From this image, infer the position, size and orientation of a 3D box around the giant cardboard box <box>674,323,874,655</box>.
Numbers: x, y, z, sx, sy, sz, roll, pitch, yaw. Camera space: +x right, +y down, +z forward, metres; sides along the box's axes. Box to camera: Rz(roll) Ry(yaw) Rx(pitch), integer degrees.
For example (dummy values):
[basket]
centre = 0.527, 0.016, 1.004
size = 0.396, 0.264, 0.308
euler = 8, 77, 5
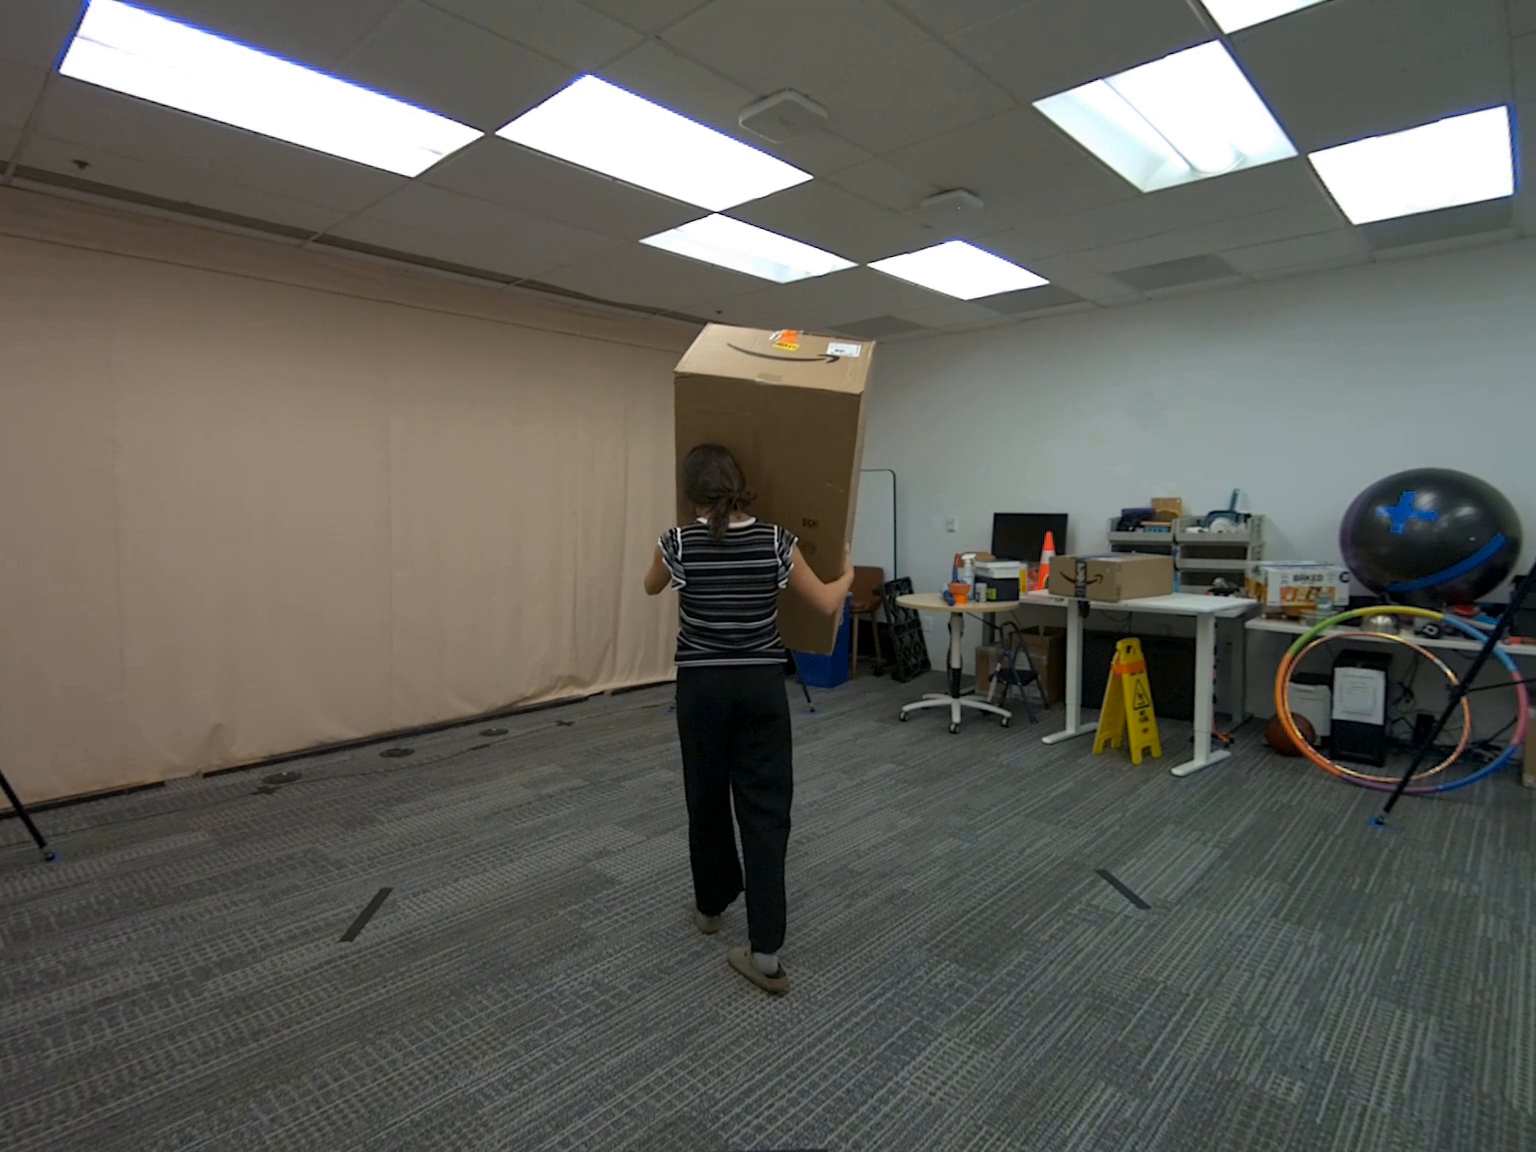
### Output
[giant cardboard box]
centre = 0.018, -0.288, 2.943
size = 0.585, 1.008, 0.428
euler = 9, 36, 9
